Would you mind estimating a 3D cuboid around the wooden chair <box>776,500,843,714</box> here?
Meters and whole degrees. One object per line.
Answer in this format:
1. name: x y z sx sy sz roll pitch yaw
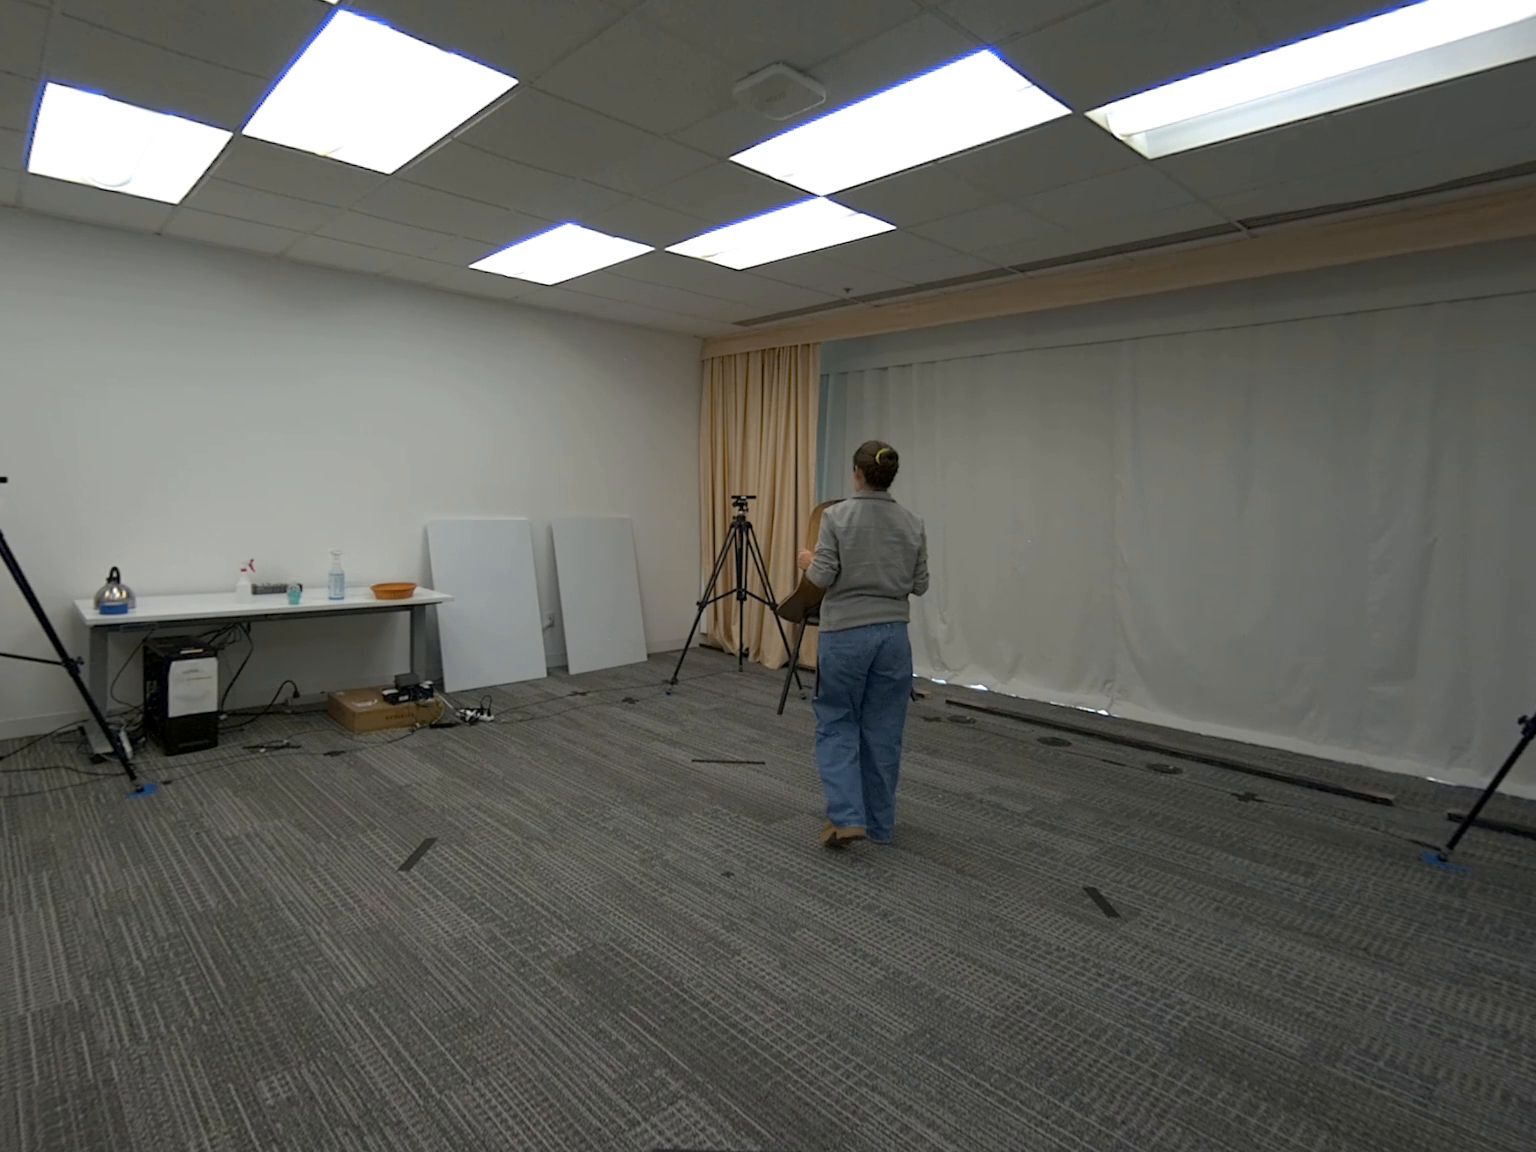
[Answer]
1. wooden chair: 0.294 0.164 3.690 0.471 0.887 0.524 5 -16 -17
